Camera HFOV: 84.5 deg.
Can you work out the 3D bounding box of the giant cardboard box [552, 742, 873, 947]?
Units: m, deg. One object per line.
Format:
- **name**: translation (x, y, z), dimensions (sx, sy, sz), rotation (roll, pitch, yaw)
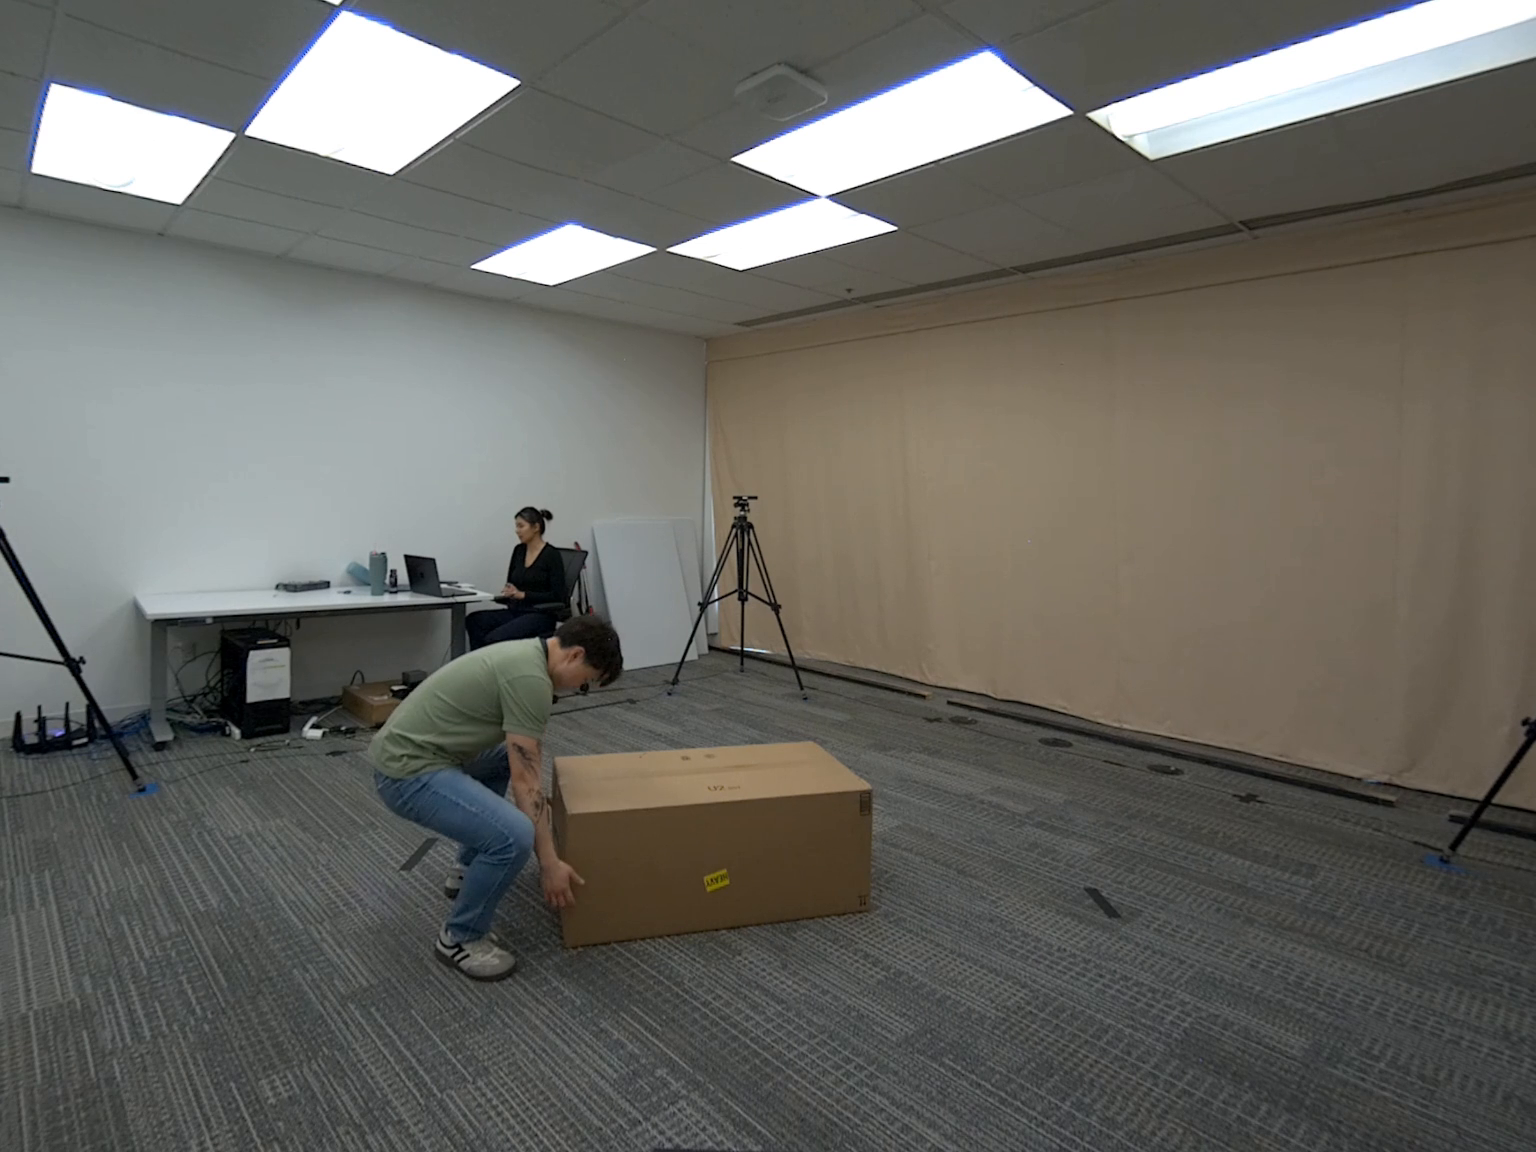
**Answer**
- **giant cardboard box**: translation (-0.226, 0.900, 2.966), dimensions (1.012, 0.425, 0.587), rotation (0, 5, -17)
